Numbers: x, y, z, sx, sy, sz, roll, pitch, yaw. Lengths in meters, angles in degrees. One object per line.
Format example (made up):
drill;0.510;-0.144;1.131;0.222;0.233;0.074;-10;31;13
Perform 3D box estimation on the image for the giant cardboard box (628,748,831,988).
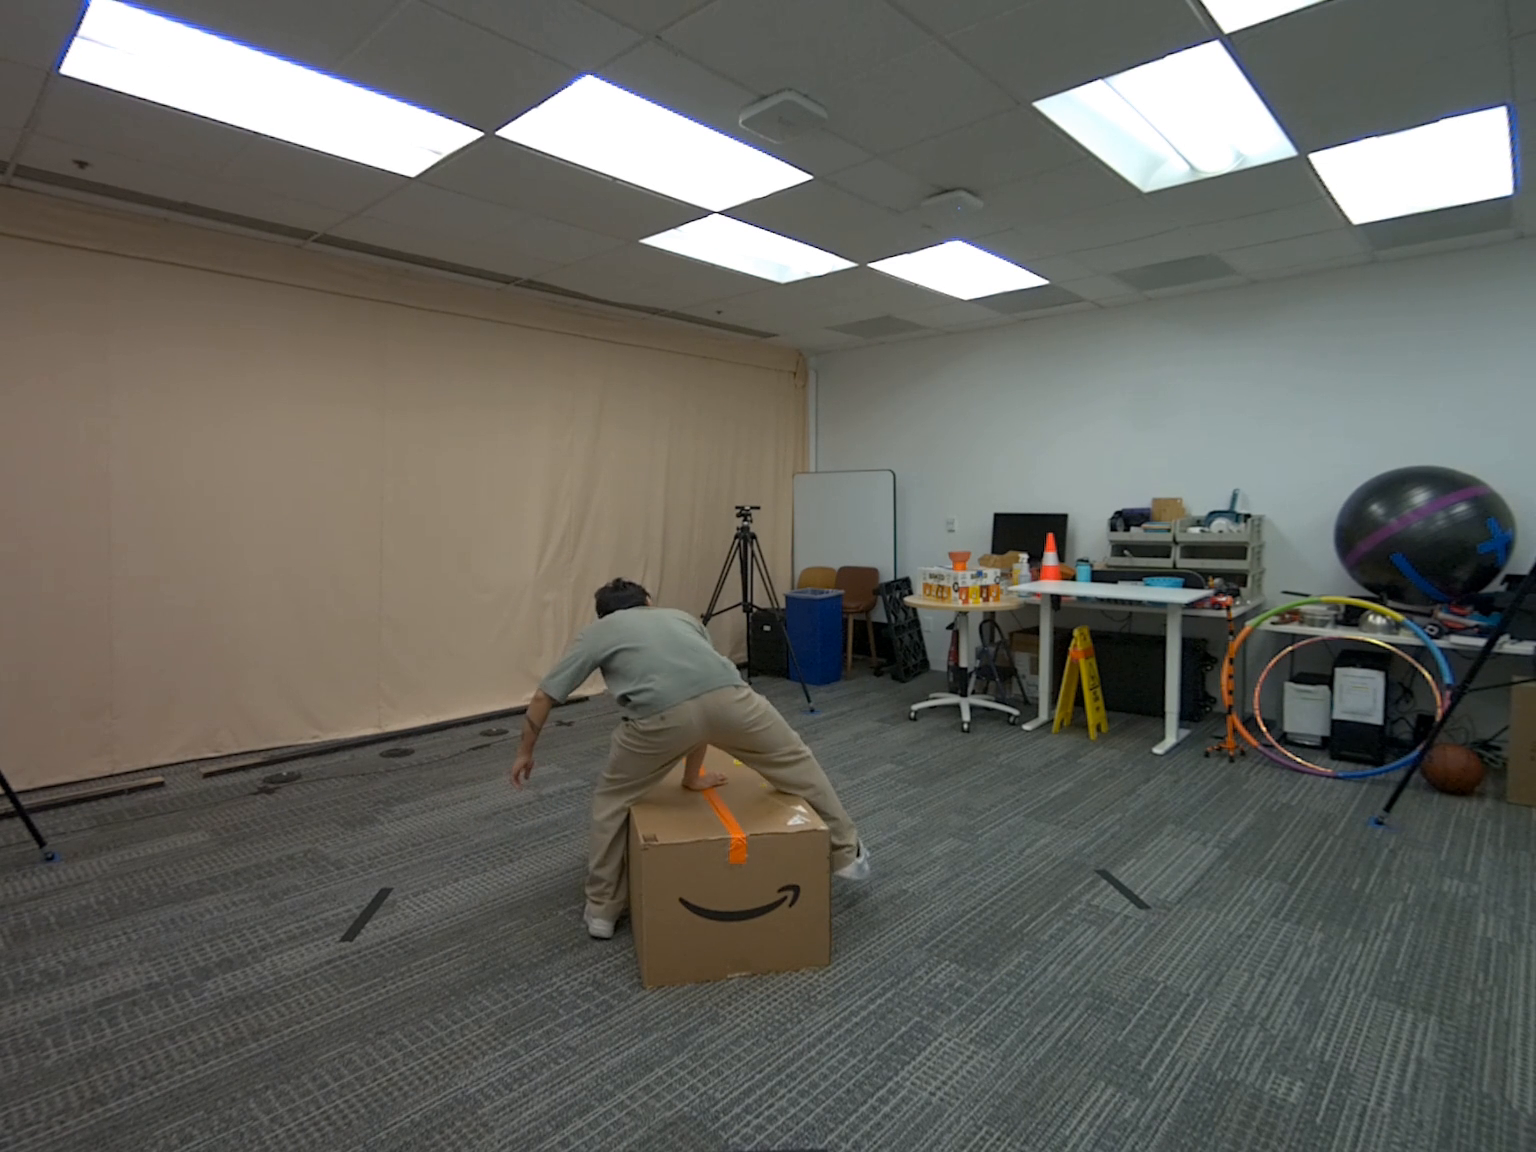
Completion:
giant cardboard box;-0.216;0.940;2.973;0.570;0.425;1.042;-1;4;-14
